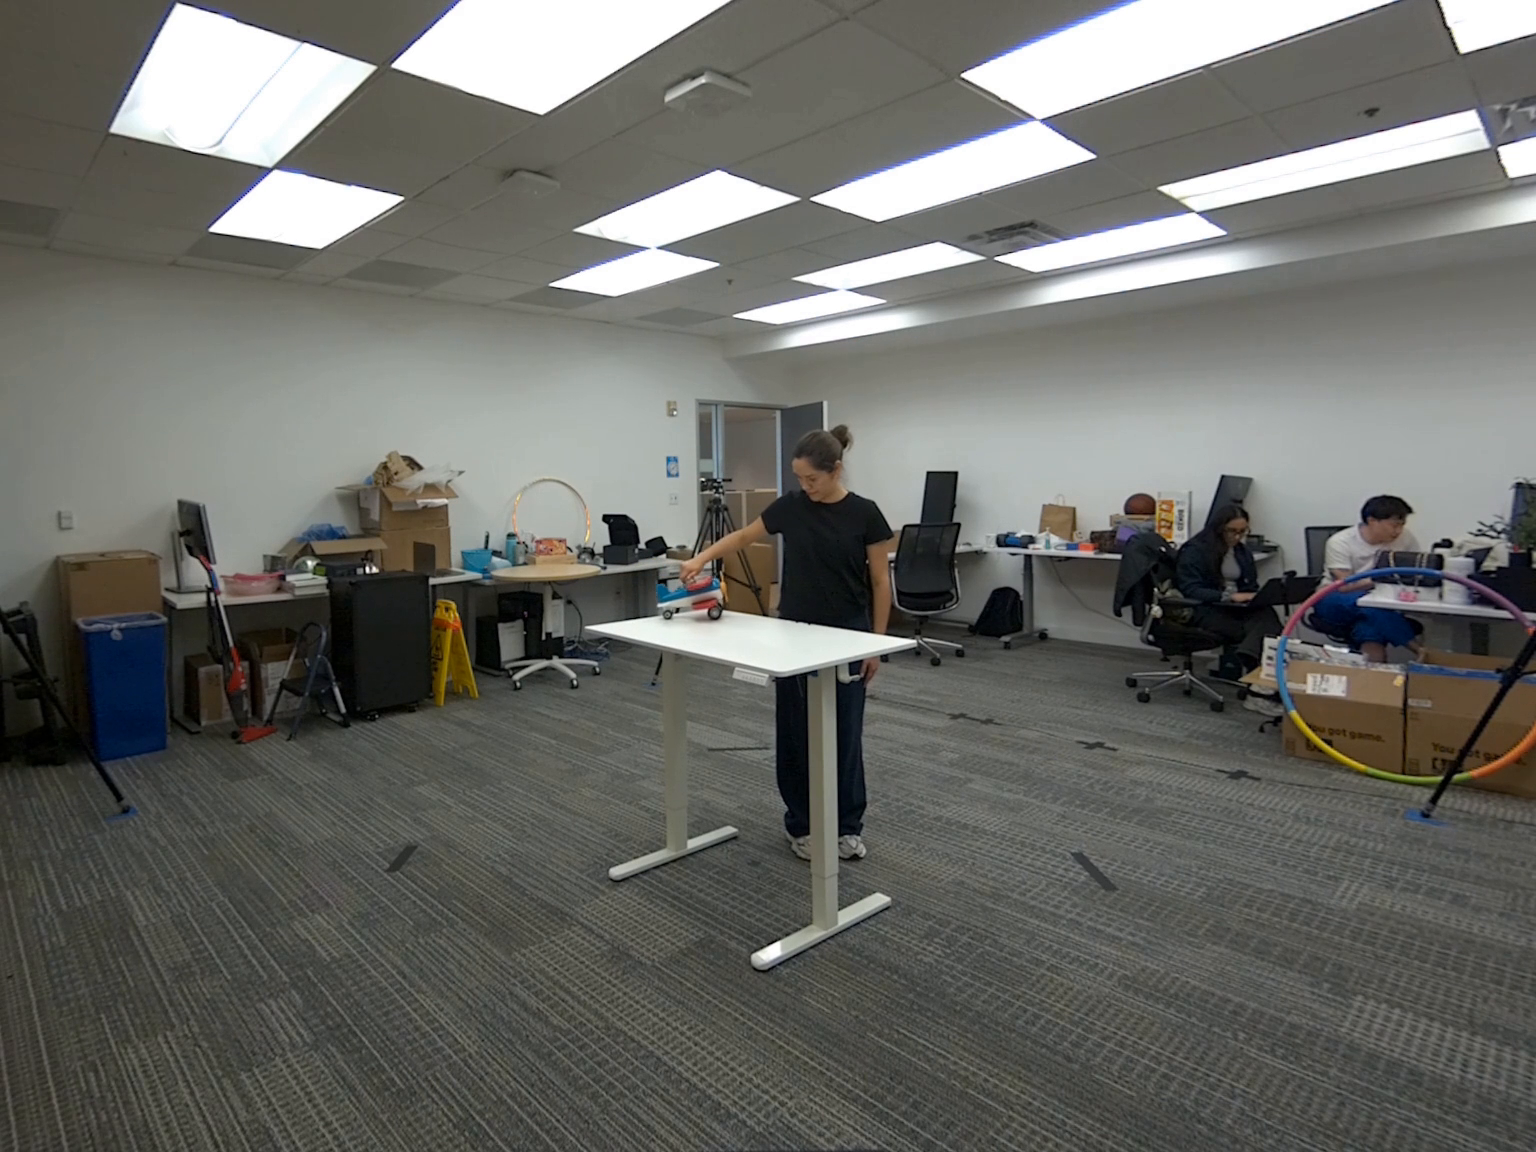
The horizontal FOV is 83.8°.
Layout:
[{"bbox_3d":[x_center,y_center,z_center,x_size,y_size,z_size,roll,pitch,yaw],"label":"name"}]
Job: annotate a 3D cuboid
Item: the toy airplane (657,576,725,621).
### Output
[{"bbox_3d":[-0.275,0.080,3.185,0.253,0.156,0.257,-3,5,-27],"label":"toy airplane"}]
